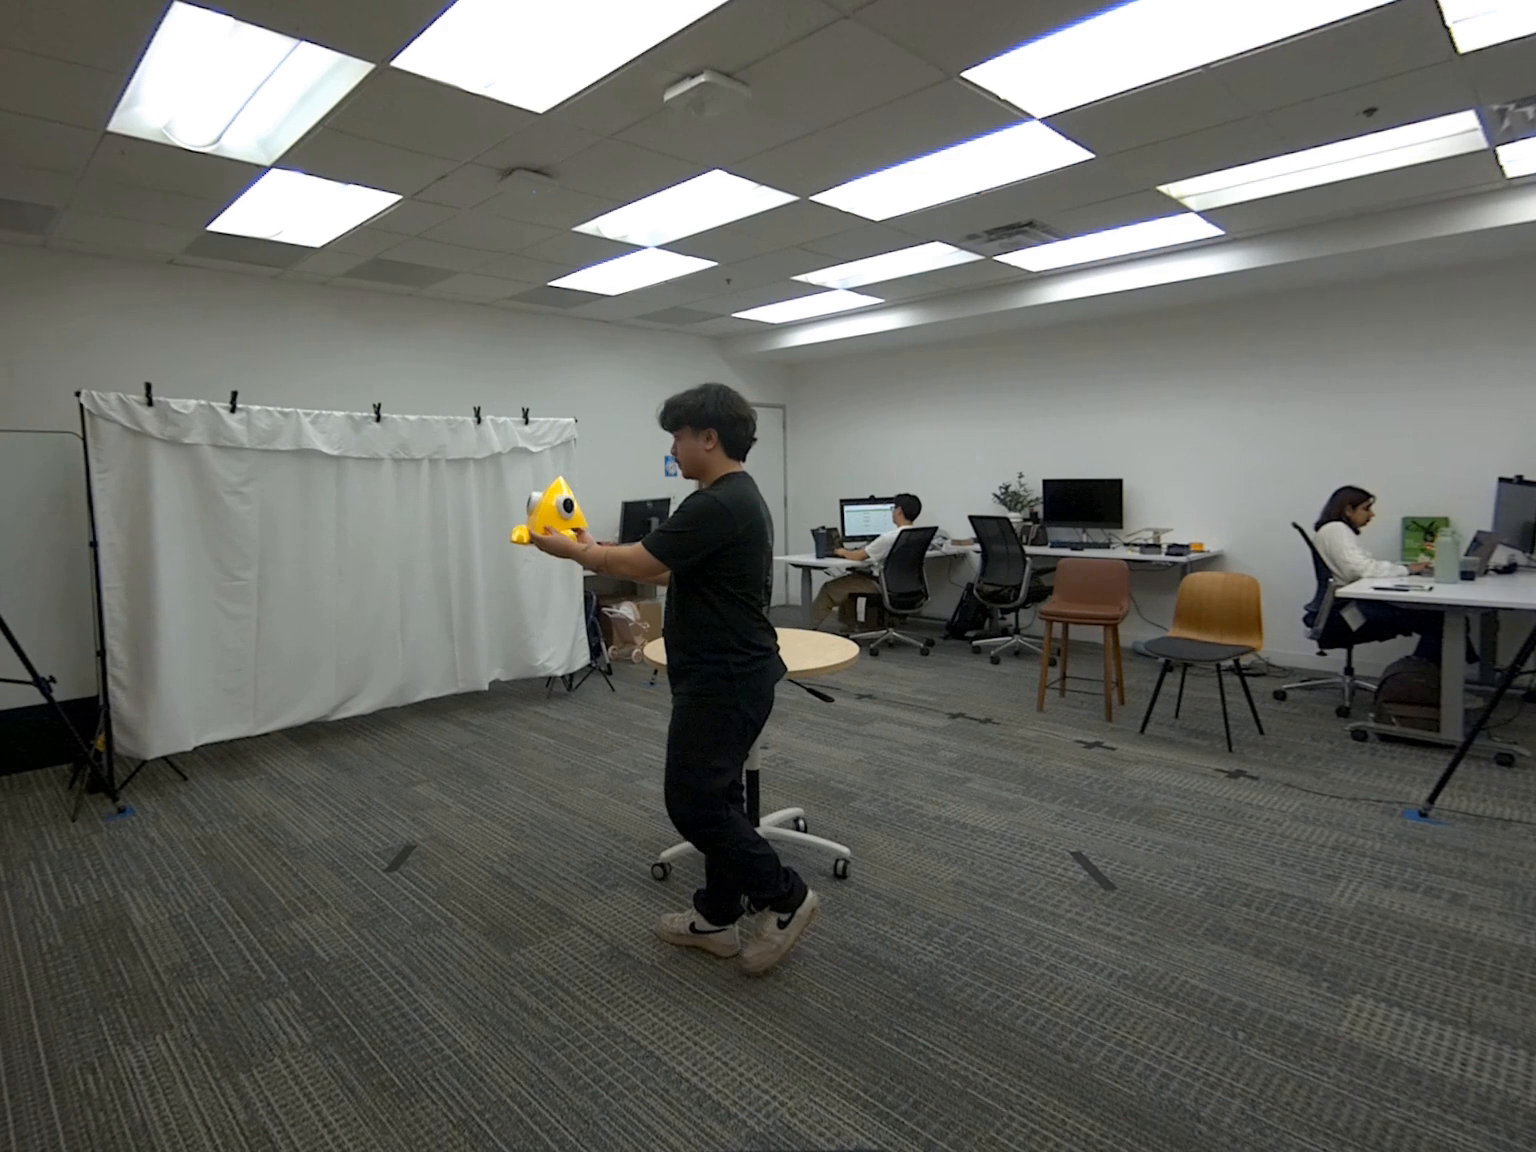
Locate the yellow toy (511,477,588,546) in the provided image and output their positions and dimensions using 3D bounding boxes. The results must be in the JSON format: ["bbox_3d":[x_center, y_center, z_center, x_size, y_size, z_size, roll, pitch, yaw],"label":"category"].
[{"bbox_3d":[-0.668,-0.211,2.641,0.207,0.232,0.190,6,-5,9],"label":"yellow toy"}]
